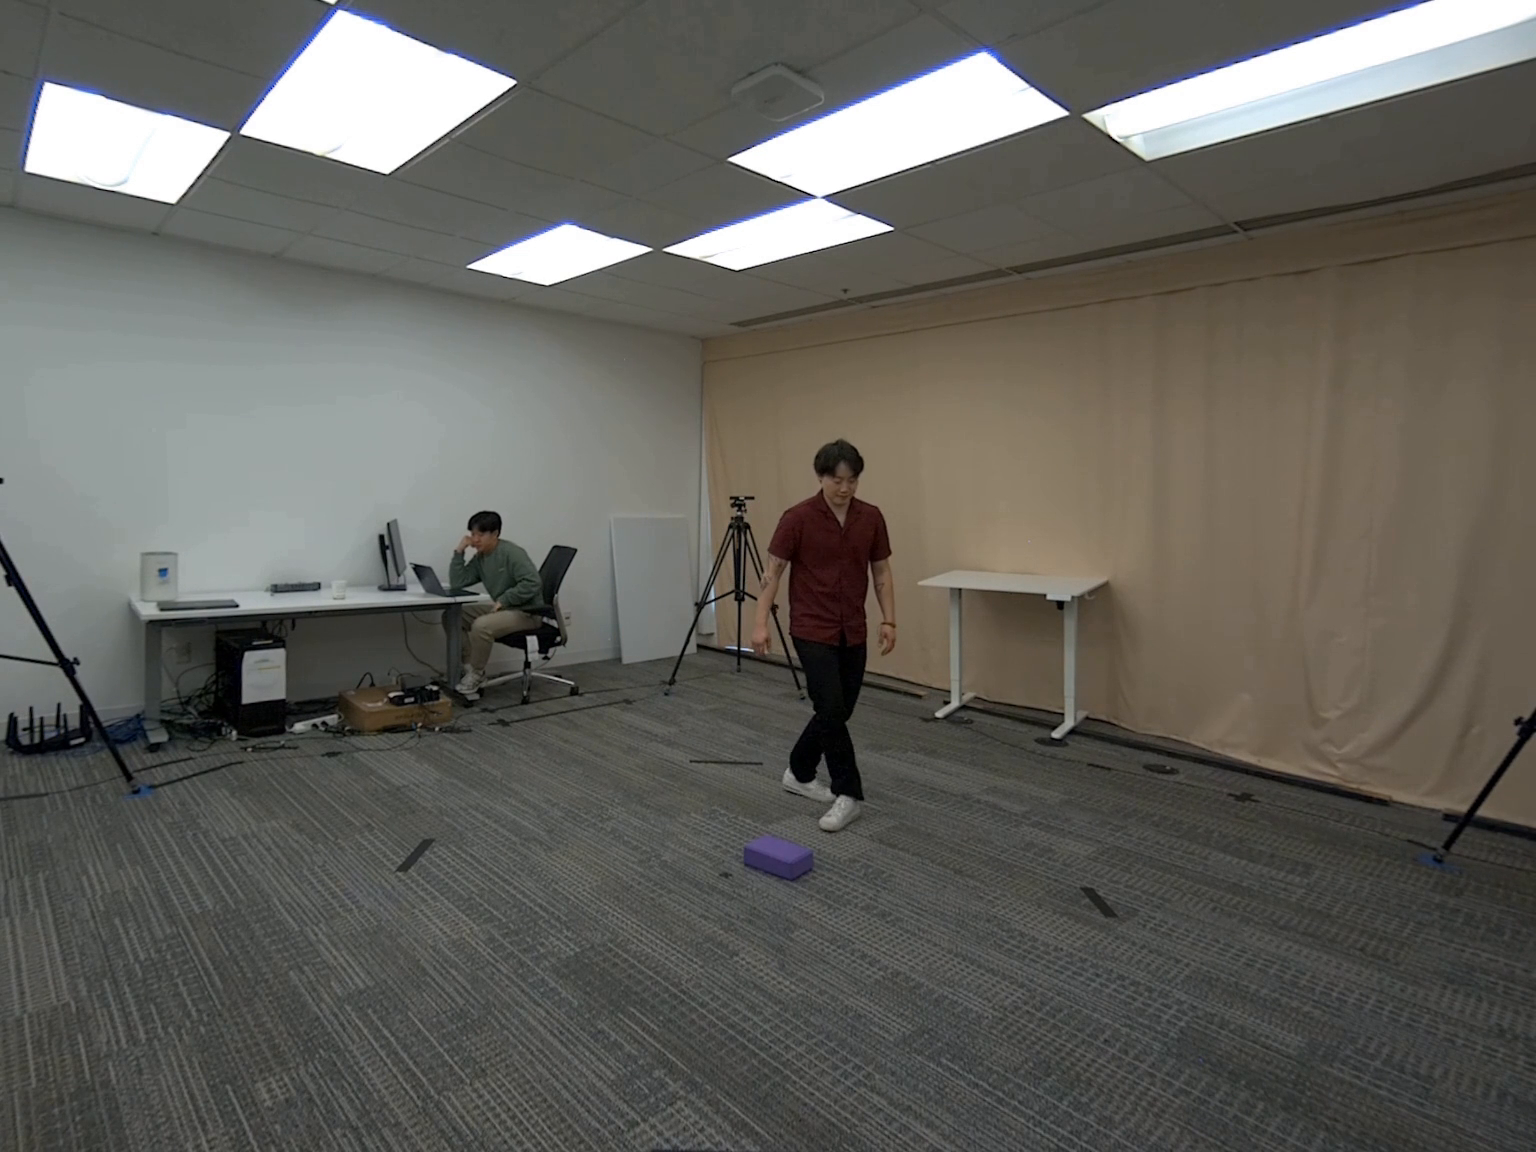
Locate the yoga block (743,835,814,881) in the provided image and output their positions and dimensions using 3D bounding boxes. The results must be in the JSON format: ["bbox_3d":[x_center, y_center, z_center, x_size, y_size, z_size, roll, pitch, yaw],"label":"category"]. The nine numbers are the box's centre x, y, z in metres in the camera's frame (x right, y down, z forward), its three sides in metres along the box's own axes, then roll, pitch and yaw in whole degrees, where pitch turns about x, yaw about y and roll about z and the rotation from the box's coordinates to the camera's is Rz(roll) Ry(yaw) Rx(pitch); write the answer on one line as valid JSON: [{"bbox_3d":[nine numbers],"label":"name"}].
[{"bbox_3d":[0.031,1.060,3.179,0.235,0.076,0.146,4,6,38],"label":"yoga block"}]
